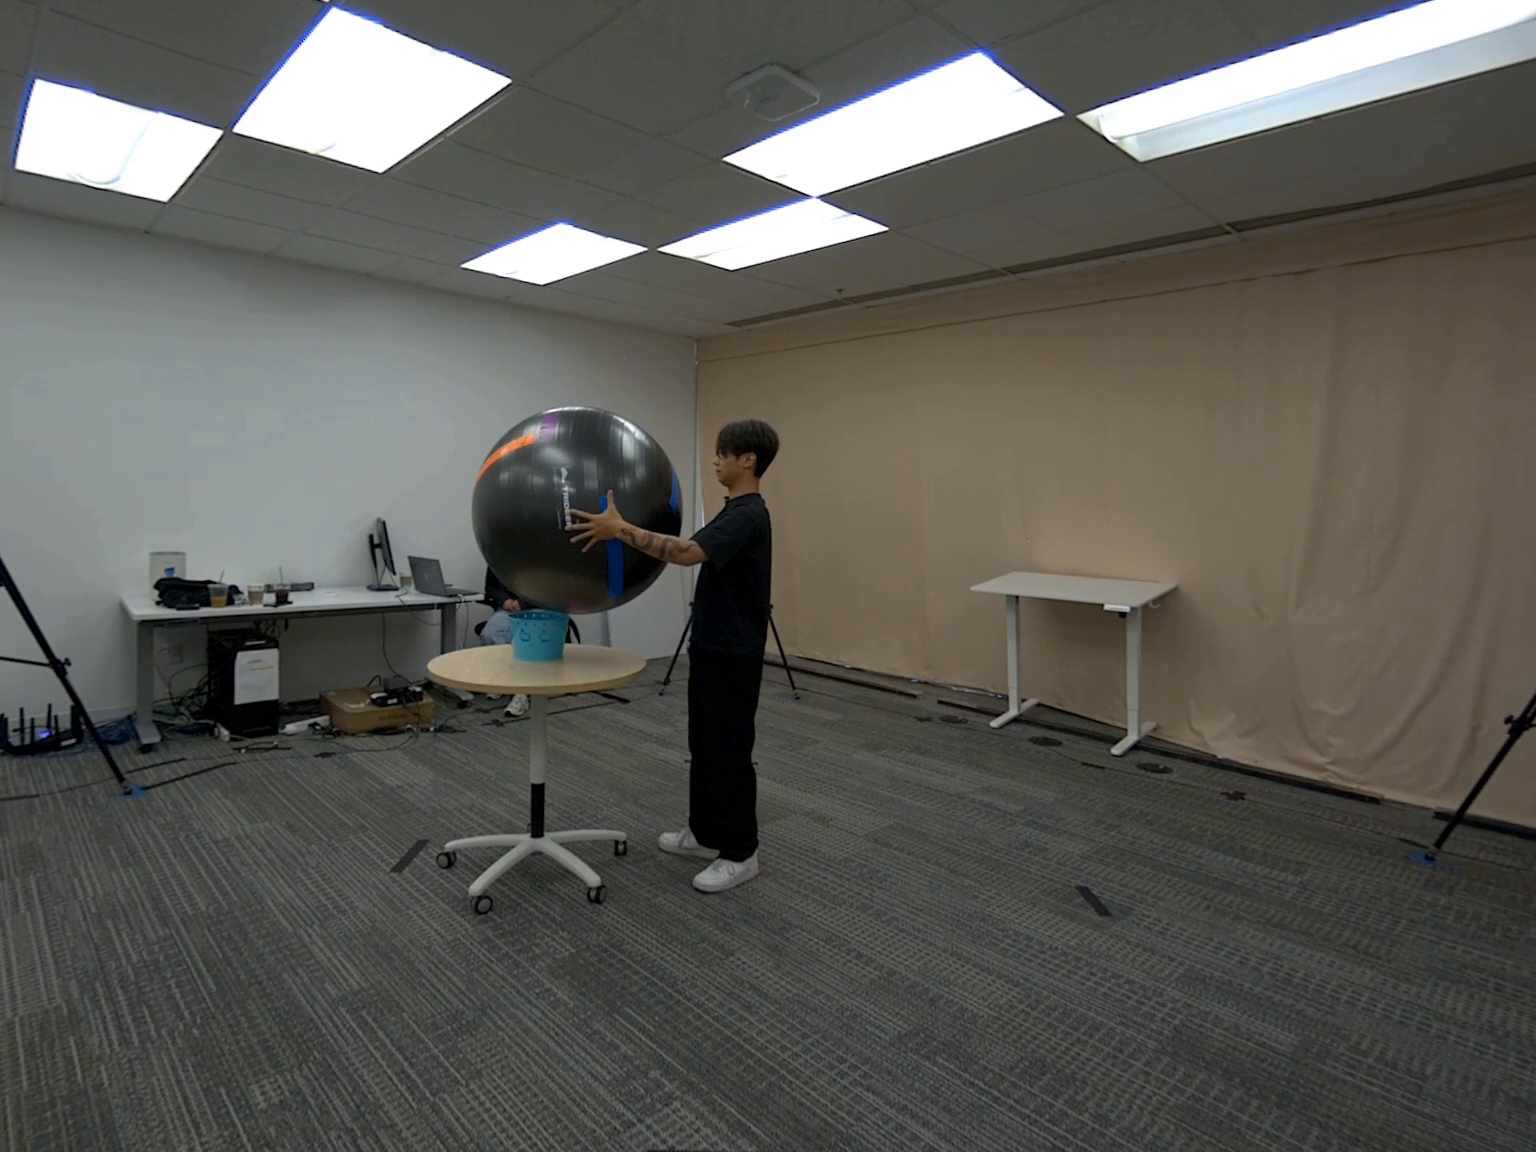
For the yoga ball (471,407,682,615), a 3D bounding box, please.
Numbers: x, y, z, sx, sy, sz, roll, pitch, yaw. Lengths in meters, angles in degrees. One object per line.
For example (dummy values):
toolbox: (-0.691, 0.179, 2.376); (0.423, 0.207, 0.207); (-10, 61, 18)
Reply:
yoga ball: (-0.707, -0.235, 3.101); (0.757, 0.756, 0.761); (1, 4, -1)
